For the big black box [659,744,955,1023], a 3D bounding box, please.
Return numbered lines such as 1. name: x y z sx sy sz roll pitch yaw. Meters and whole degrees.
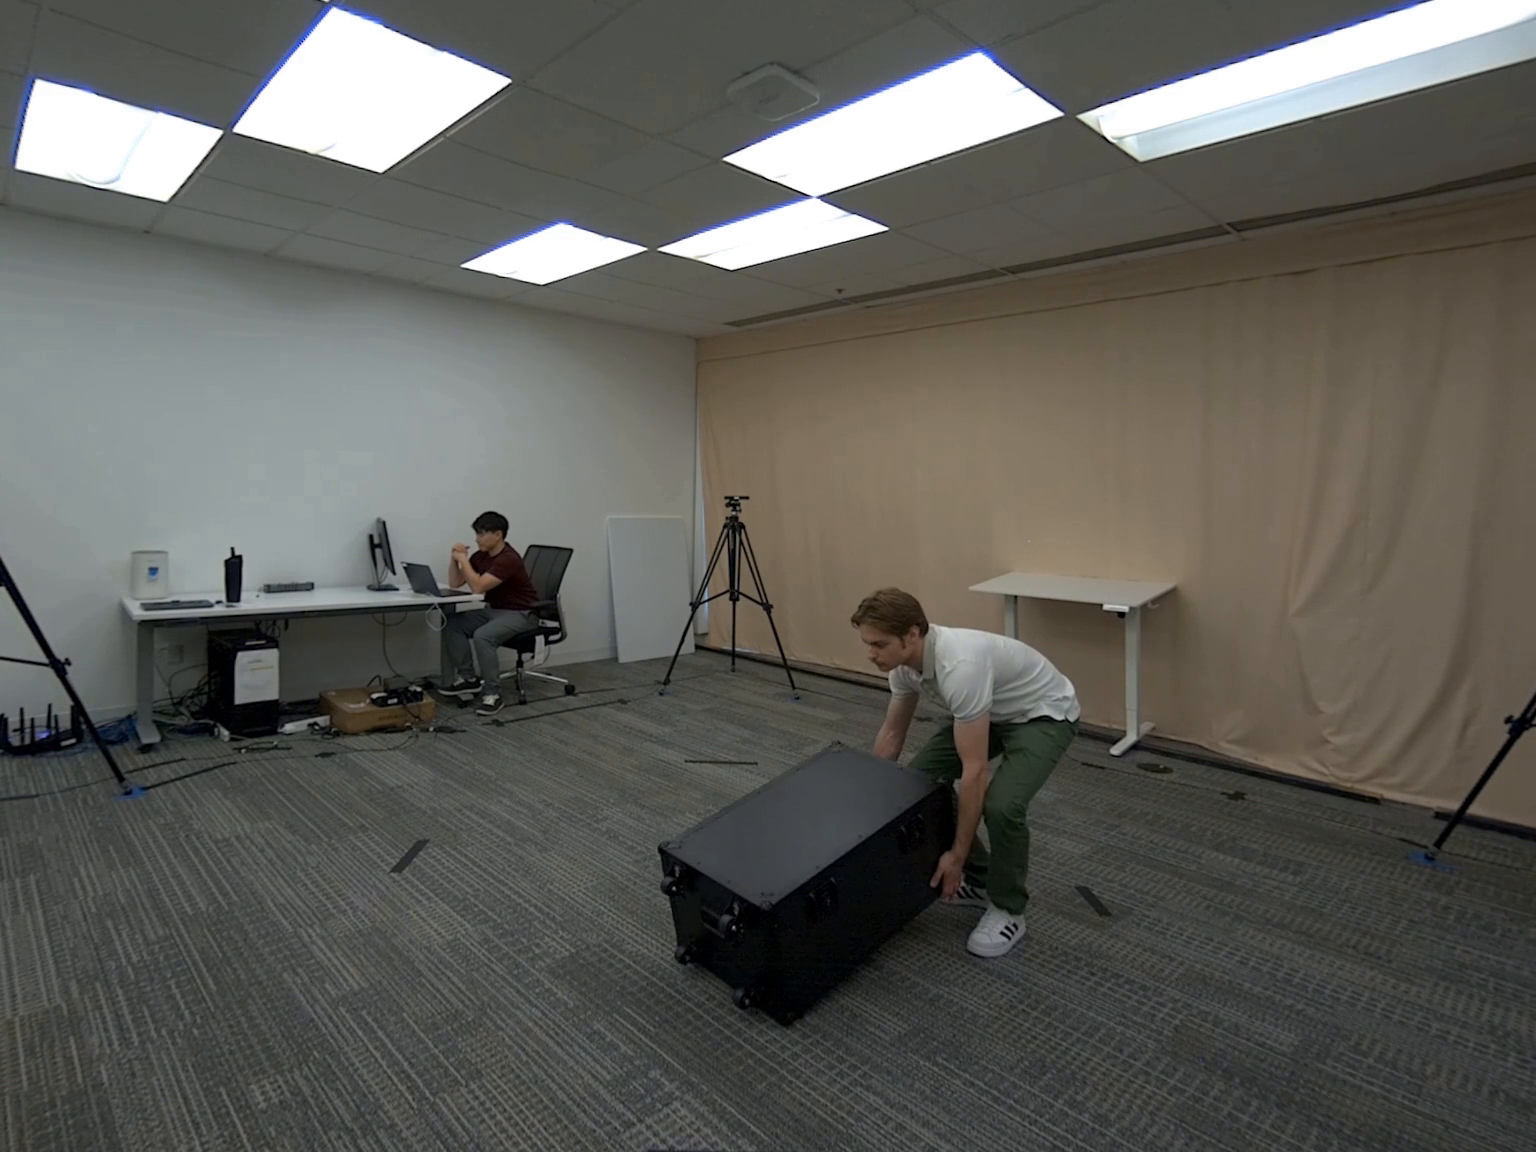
1. big black box: 0.099 0.915 2.563 0.848 0.392 0.535 -18 17 -40
